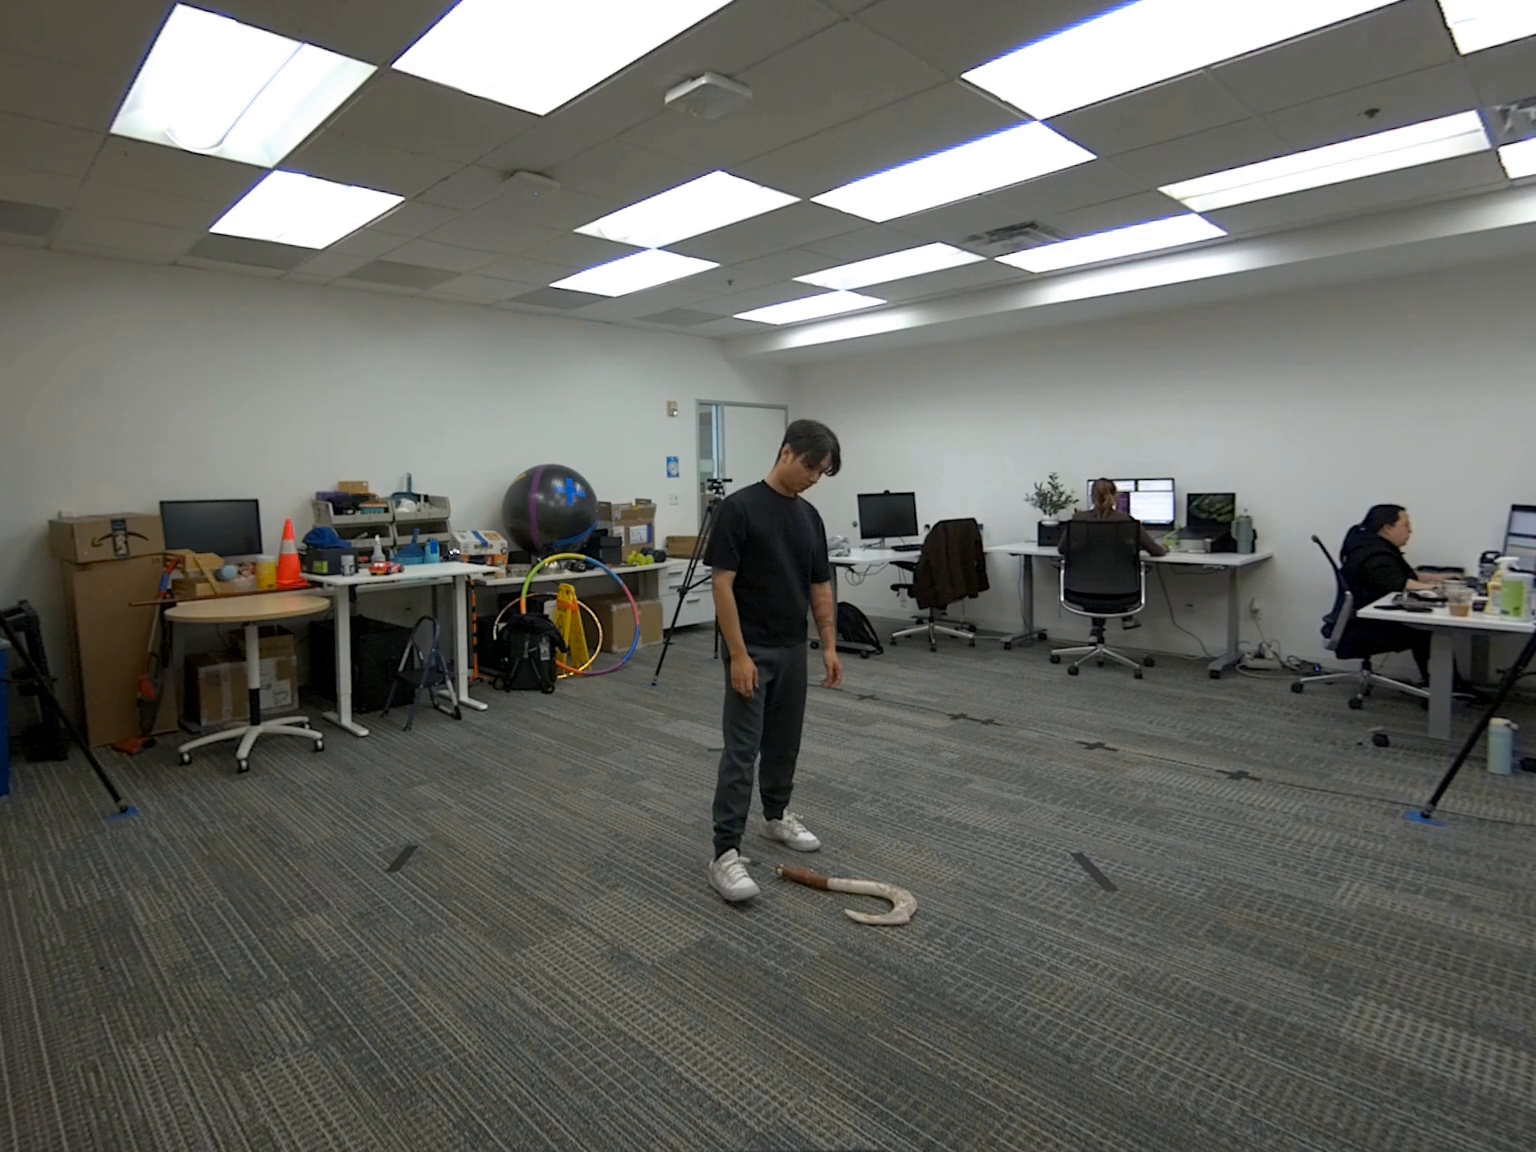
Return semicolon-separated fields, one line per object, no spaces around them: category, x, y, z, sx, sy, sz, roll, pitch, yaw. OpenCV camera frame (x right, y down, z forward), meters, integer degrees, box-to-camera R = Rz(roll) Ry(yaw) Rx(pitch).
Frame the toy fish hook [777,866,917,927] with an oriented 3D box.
toy fish hook;0.238;1.050;2.823;0.520;0.048;0.219;2;6;30
